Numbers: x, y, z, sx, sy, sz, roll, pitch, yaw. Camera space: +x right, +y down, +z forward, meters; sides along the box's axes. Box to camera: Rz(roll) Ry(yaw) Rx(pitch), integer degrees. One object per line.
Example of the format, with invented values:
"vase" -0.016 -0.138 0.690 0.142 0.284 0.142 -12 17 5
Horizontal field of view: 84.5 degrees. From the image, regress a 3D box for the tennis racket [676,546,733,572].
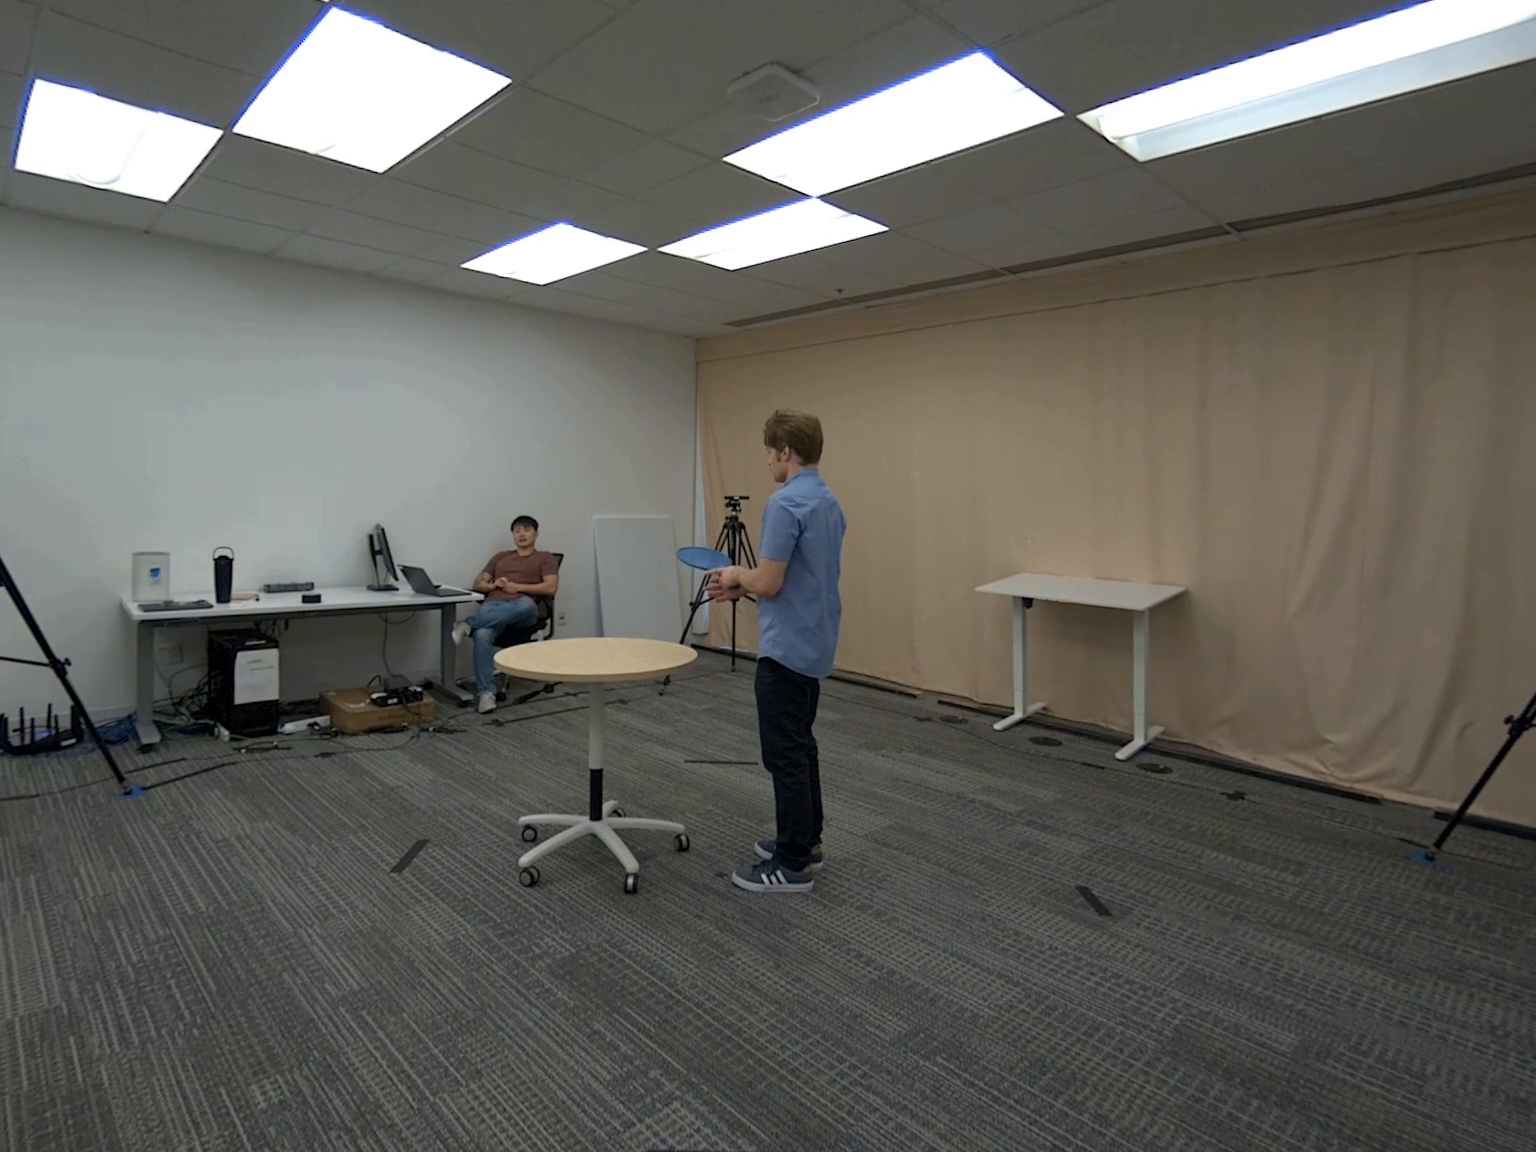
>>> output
"tennis racket" -0.194 -0.041 3.344 0.209 0.031 0.446 -11 27 -40
